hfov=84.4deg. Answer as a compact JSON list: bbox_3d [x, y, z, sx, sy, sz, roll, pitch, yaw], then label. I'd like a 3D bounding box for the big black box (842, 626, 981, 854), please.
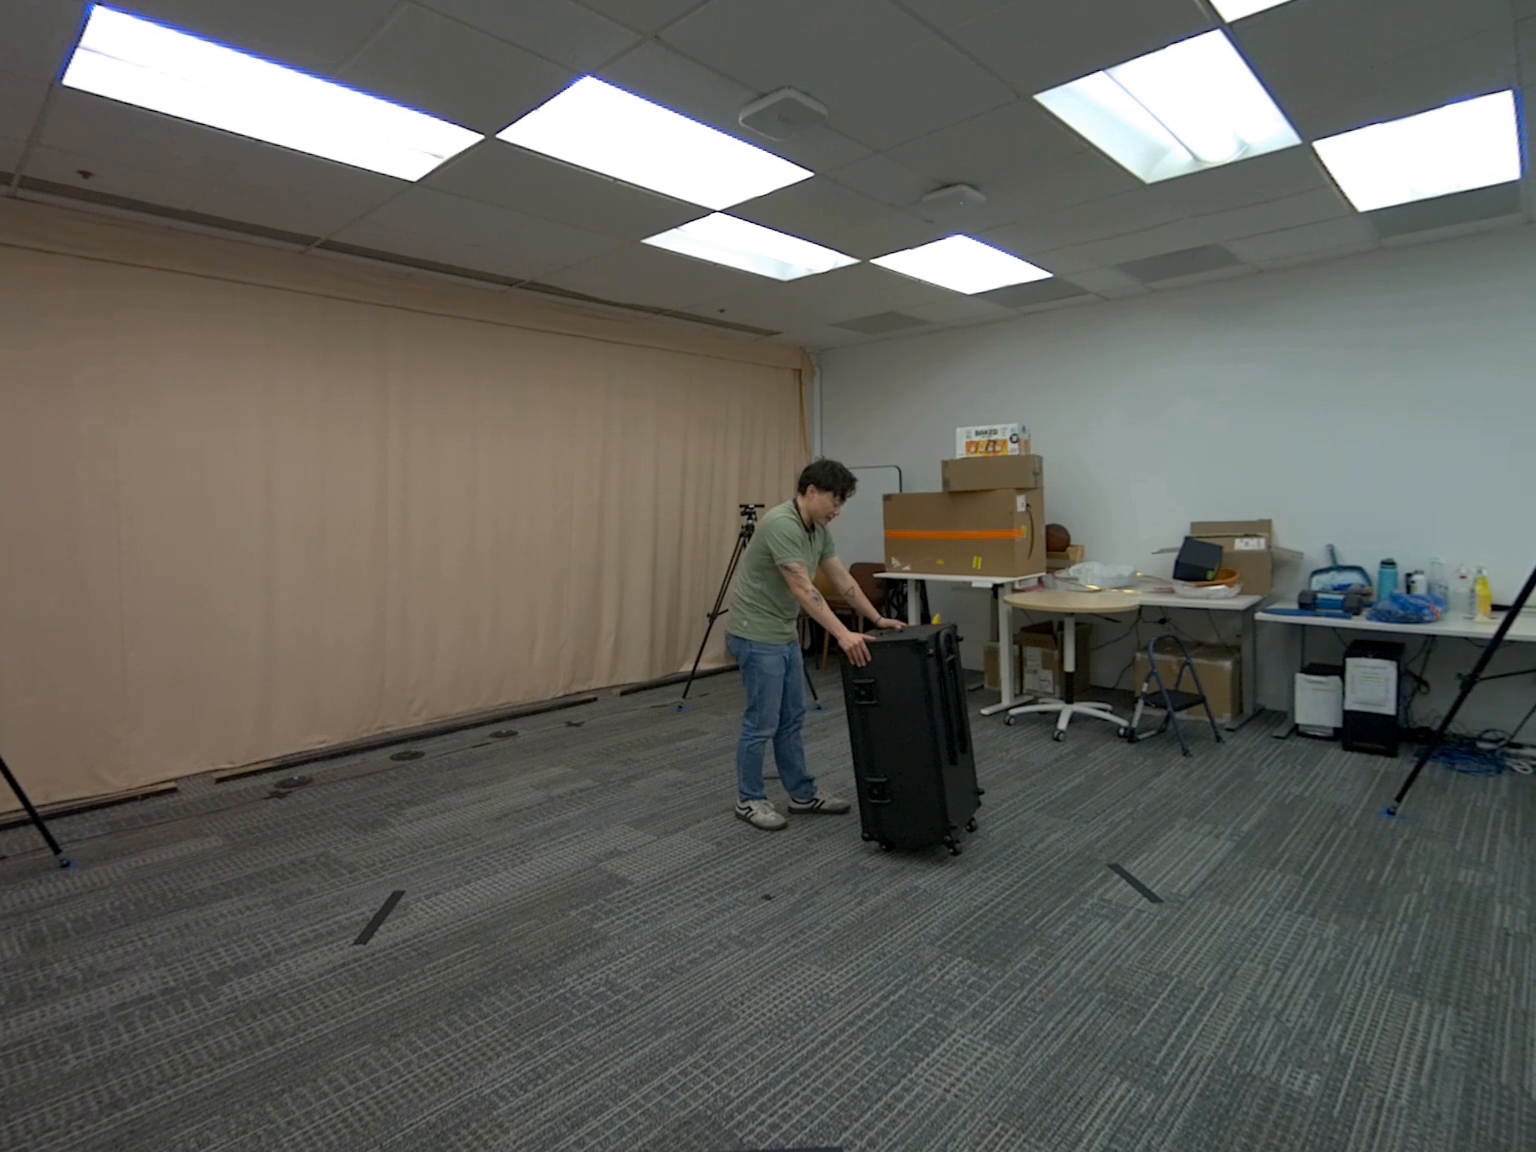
[{"bbox_3d":[0.610,0.650,3.439,0.407,0.861,0.508,-6,0,29],"label":"big black box"}]
